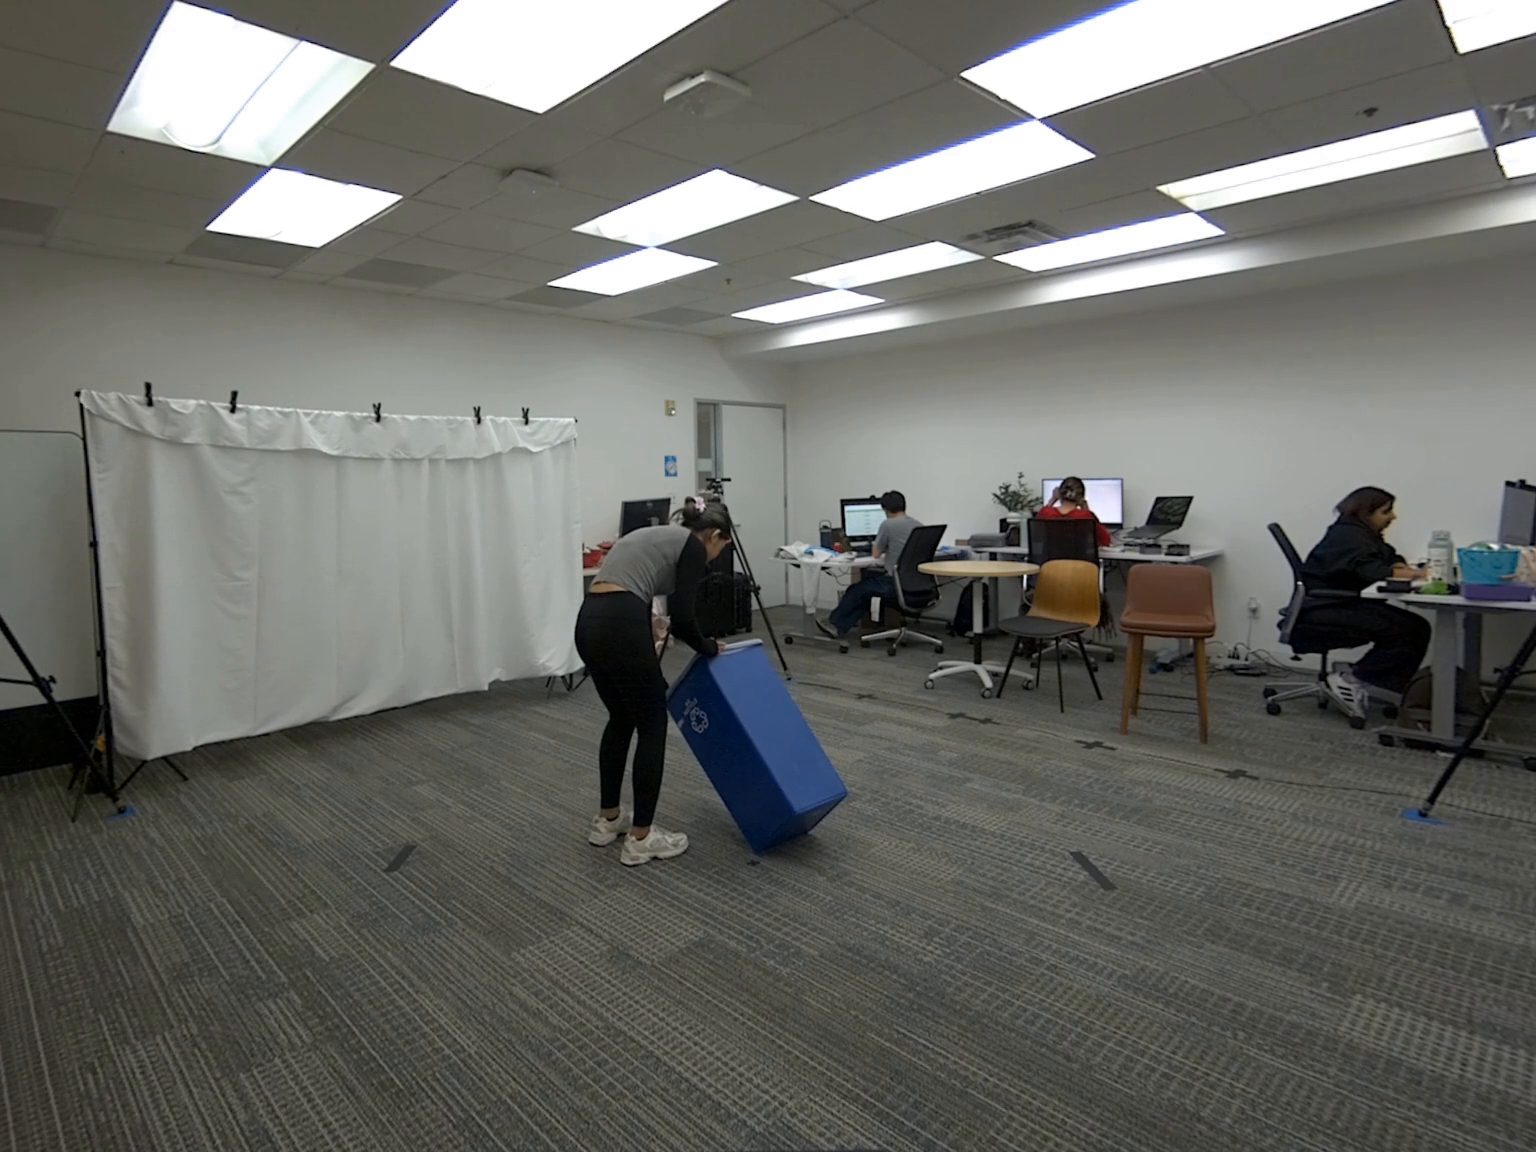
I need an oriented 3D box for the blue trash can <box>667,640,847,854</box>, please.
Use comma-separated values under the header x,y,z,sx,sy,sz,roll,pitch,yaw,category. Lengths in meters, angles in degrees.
x,y,z,sx,sy,sz,roll,pitch,yaw,category
-0.052,0.653,3.353,0.368,0.737,0.372,-4,-40,-44,blue trash can
